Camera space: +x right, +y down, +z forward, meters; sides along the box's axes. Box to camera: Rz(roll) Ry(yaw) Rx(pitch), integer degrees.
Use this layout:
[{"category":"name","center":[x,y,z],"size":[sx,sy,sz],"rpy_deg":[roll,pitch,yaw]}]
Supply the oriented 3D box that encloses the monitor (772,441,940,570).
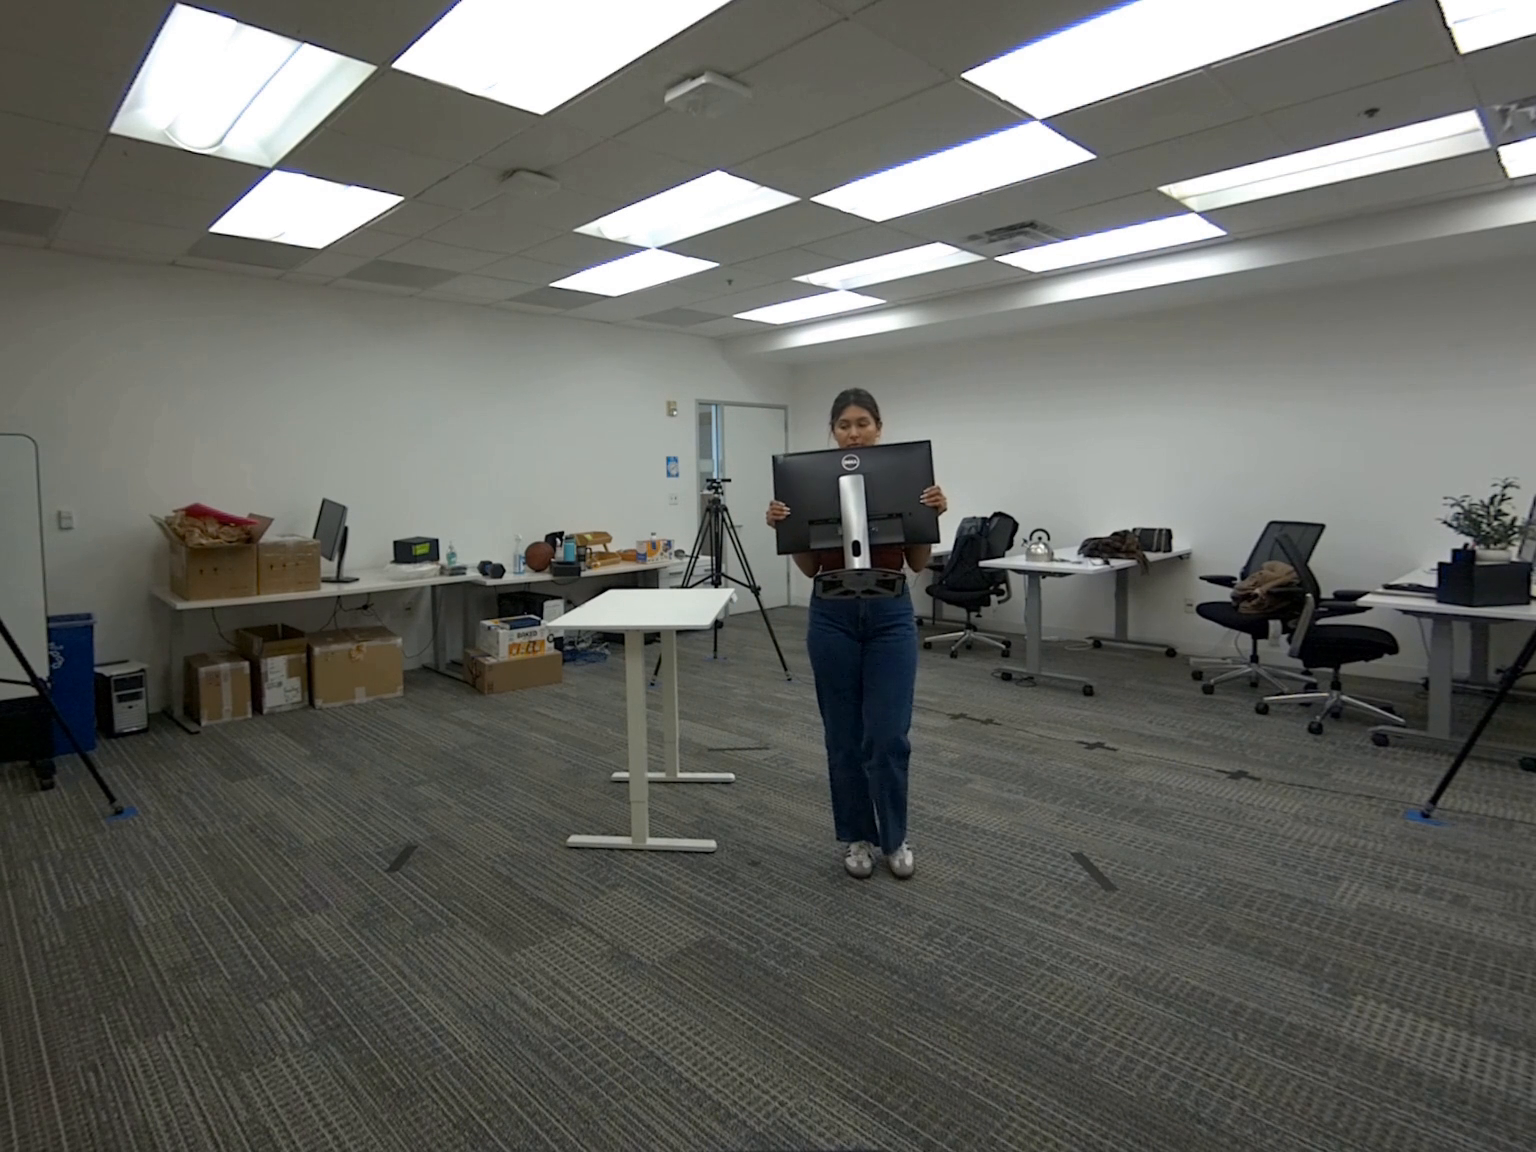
[{"category":"monitor","center":[0.278,-0.190,2.780],"size":[0.543,0.534,0.181],"rpy_deg":[-4,-28,9]}]
